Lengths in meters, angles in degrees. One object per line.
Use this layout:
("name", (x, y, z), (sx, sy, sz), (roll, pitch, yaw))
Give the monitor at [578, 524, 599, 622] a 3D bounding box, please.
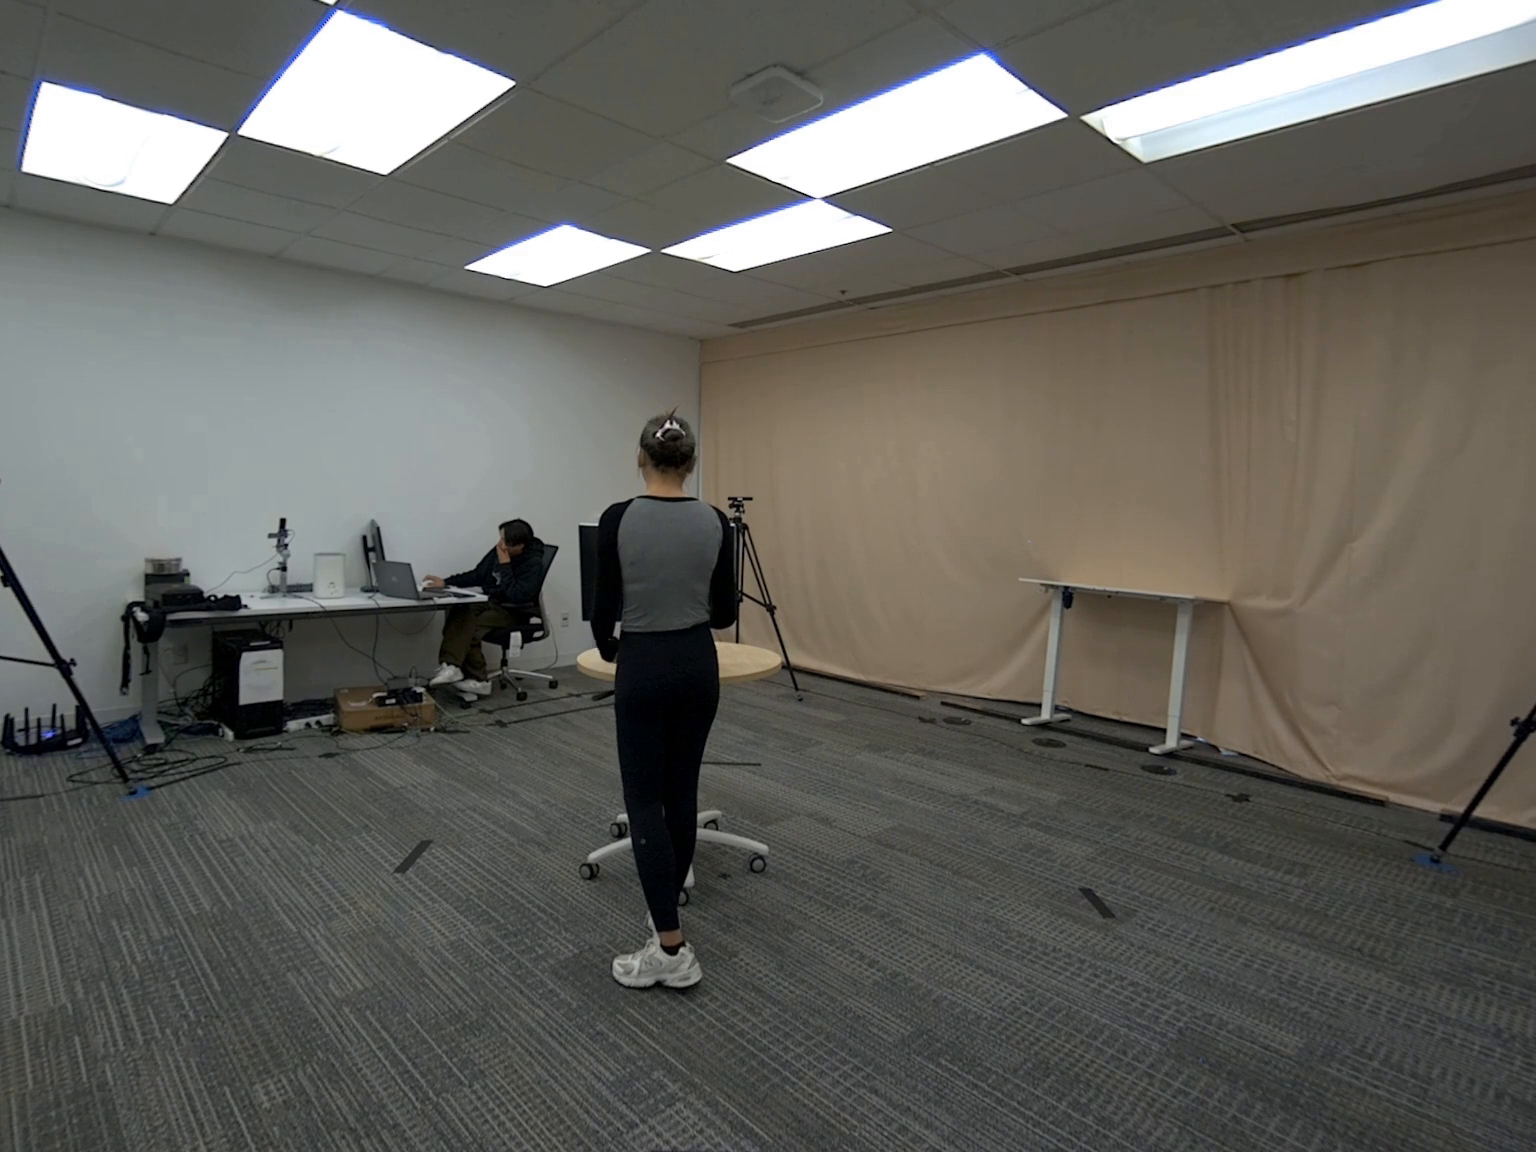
("monitor", (-0.389, 0.078, 2.976), (0.538, 0.522, 0.187), (1, 2, -2))
